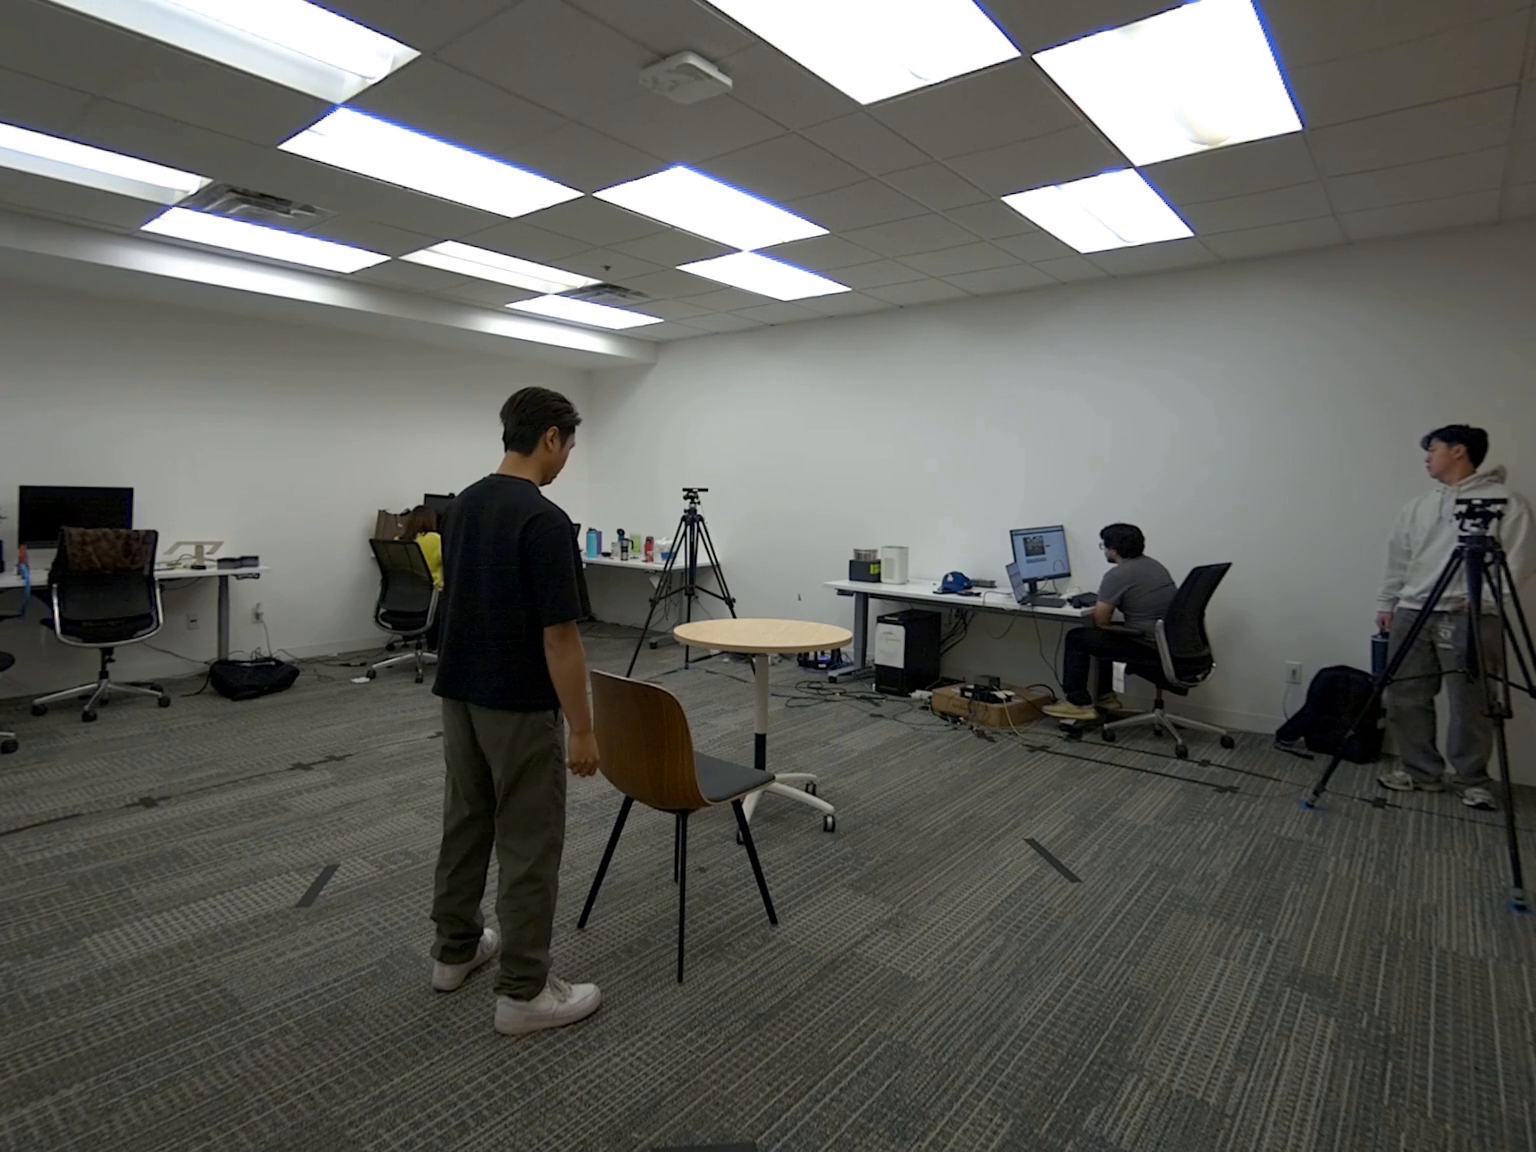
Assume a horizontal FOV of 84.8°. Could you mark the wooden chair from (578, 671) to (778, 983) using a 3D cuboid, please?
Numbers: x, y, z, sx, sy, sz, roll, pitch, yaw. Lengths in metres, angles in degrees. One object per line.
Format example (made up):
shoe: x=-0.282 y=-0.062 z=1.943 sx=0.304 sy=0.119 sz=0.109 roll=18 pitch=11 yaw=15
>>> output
wooden chair: x=-0.279 y=0.684 z=2.683 sx=0.494 sy=0.872 sz=0.509 roll=4 pitch=8 yaw=39
